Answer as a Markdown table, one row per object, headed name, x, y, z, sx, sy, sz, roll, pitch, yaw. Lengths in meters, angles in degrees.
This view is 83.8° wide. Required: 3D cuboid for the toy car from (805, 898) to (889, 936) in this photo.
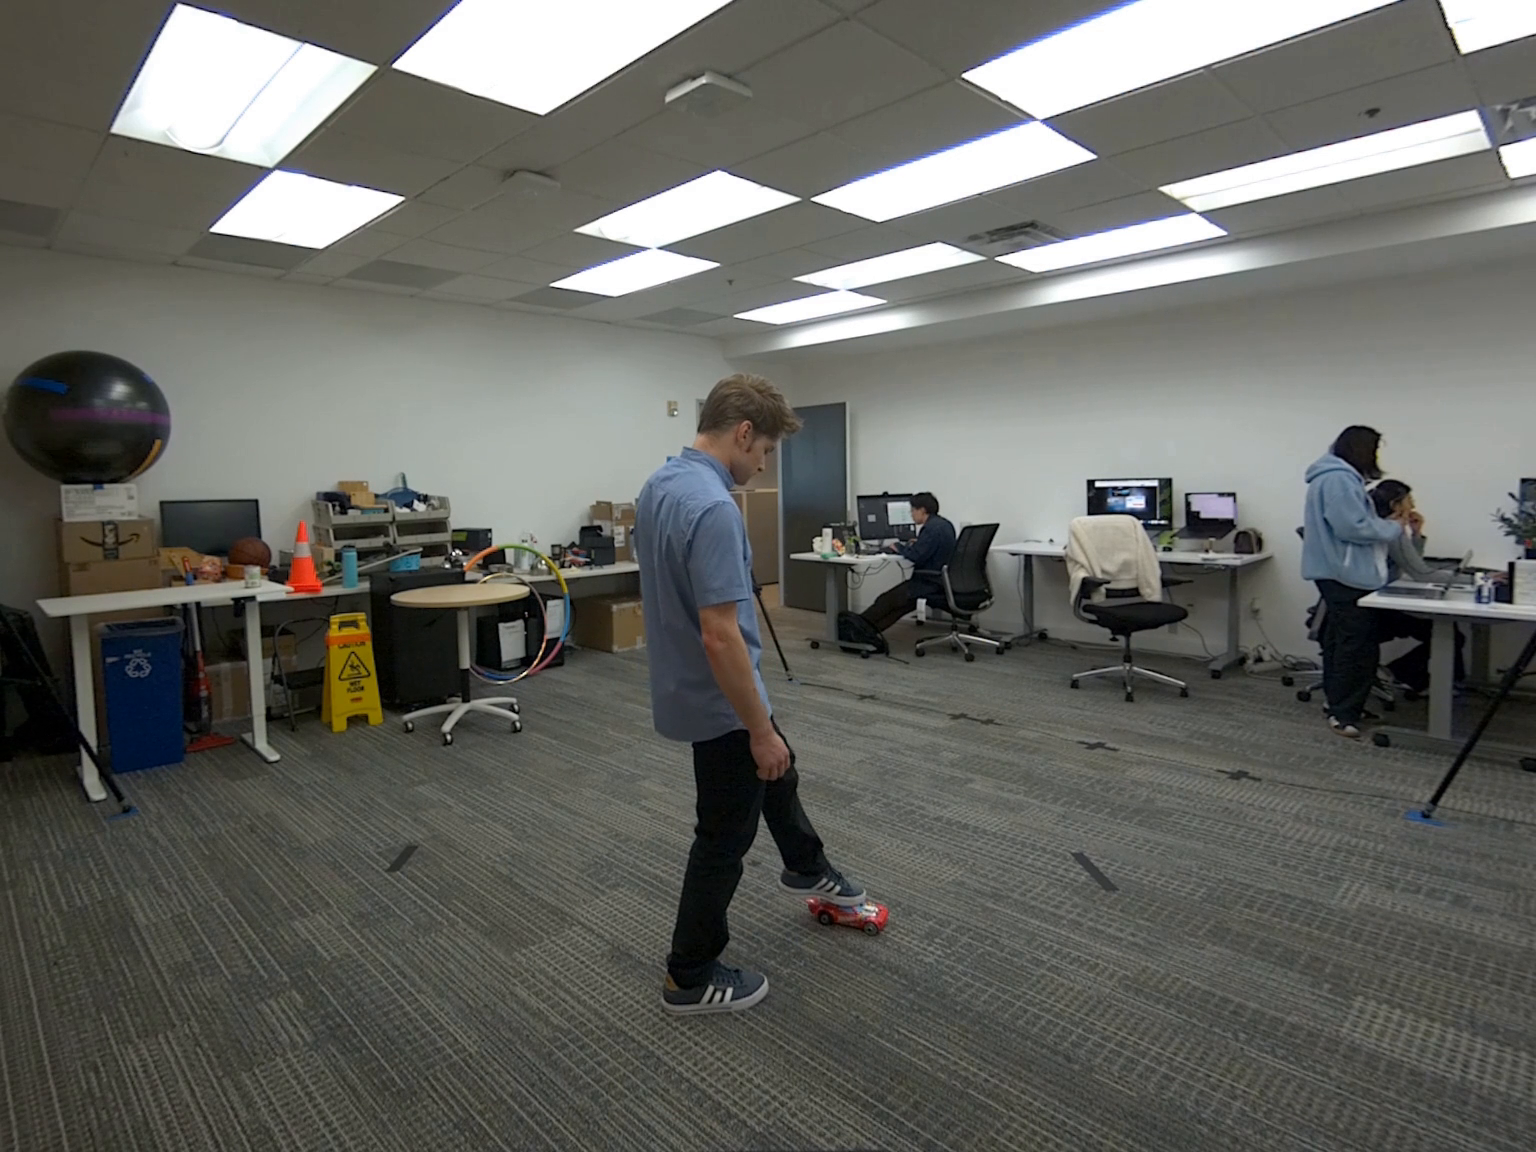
| name | x | y | z | sx | sy | sz | roll | pitch | yaw |
| --- | --- | --- | --- | --- | --- | --- | --- | --- | --- |
| toy car | 0.252 | 1.058 | 2.689 | 0.261 | 0.082 | 0.128 | 14 | 13 | 23 |
